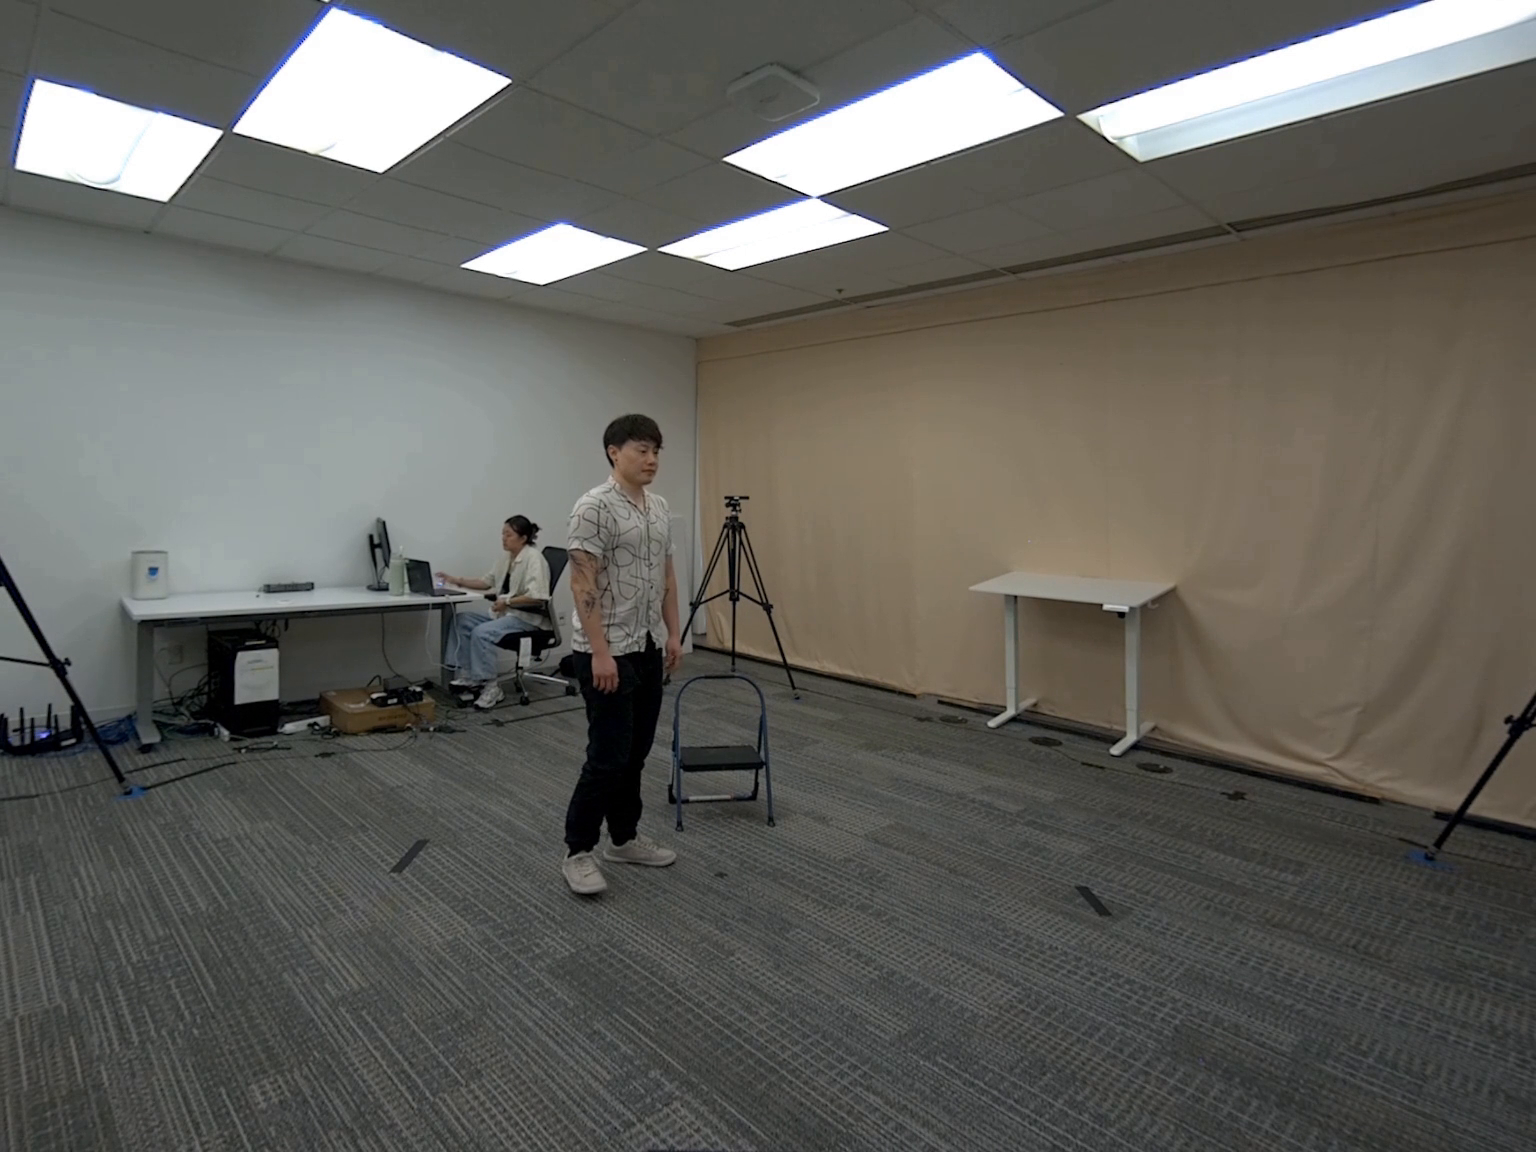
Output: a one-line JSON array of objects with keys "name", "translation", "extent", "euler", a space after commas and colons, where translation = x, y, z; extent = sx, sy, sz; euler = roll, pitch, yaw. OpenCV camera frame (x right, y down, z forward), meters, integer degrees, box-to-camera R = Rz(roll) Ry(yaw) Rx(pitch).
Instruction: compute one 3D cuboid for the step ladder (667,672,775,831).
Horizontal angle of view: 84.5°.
[{"name": "step ladder", "translation": [-0.214, 0.745, 3.699], "extent": [0.426, 0.605, 0.354], "euler": [1, 3, -13]}]
